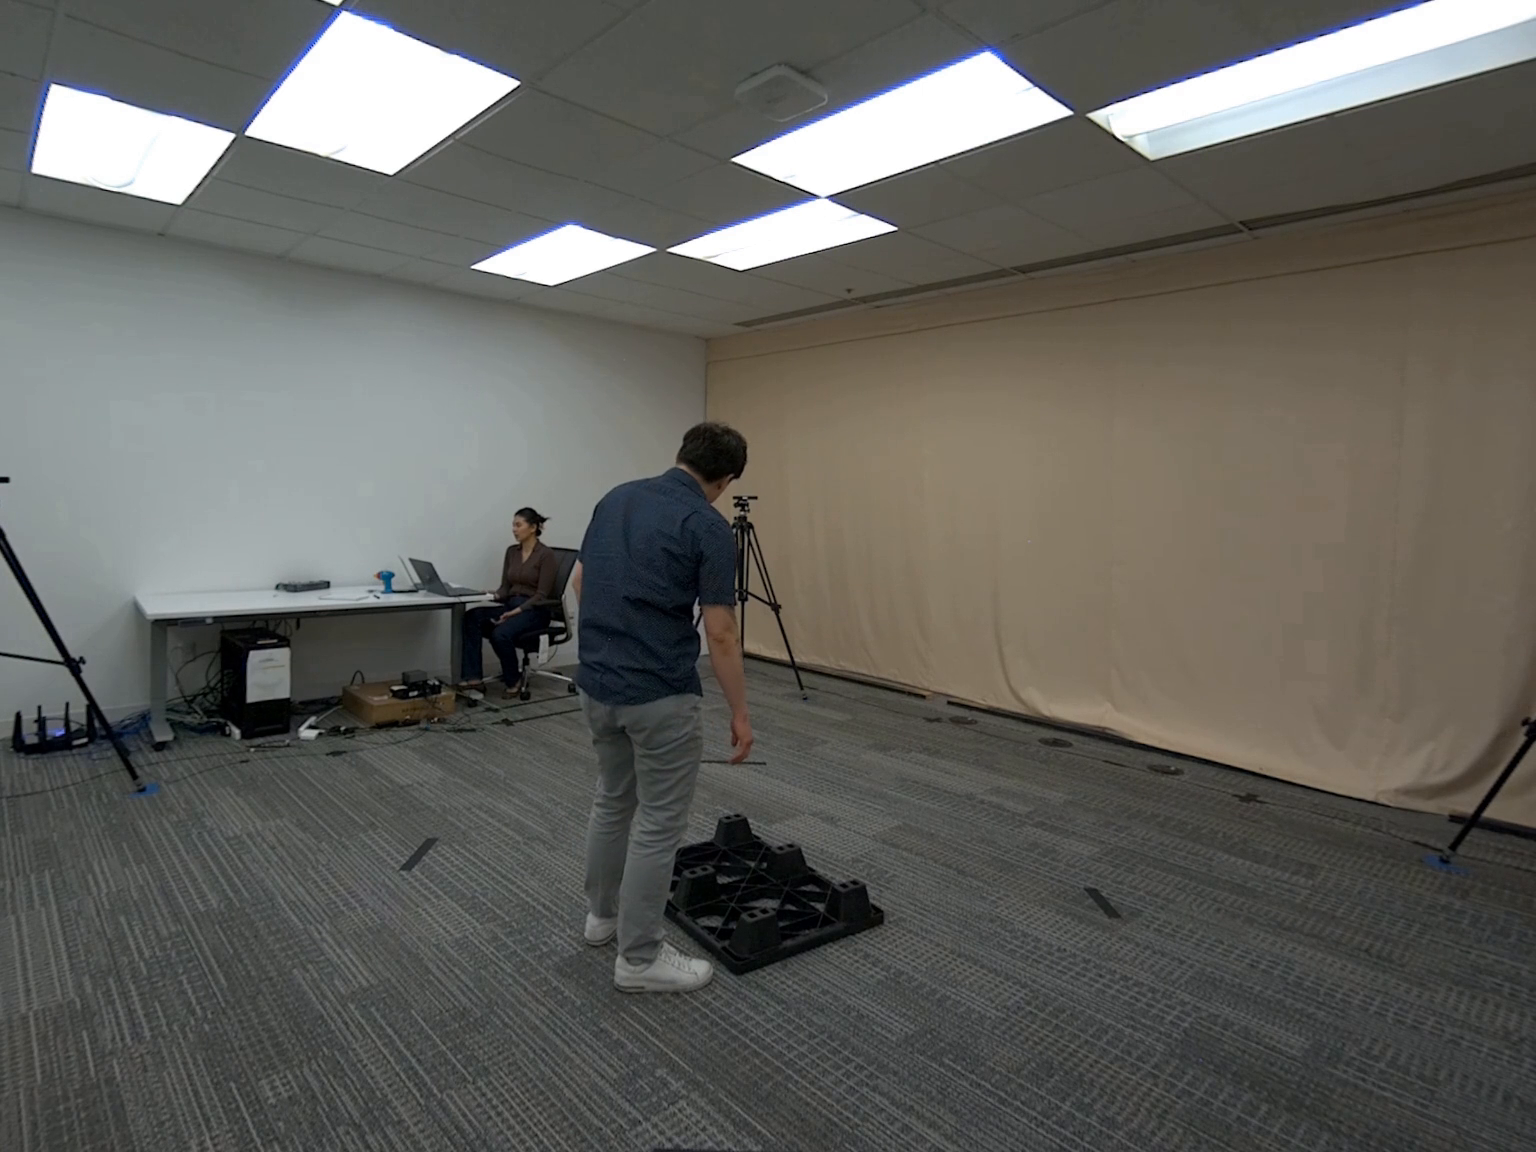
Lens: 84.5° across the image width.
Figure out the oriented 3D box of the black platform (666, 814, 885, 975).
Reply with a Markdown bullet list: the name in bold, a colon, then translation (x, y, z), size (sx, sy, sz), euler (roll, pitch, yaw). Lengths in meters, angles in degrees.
- **black platform**: translation (-0.097, 1.053, 2.933), size (0.592, 0.143, 0.826), euler (-2, 6, -36)
